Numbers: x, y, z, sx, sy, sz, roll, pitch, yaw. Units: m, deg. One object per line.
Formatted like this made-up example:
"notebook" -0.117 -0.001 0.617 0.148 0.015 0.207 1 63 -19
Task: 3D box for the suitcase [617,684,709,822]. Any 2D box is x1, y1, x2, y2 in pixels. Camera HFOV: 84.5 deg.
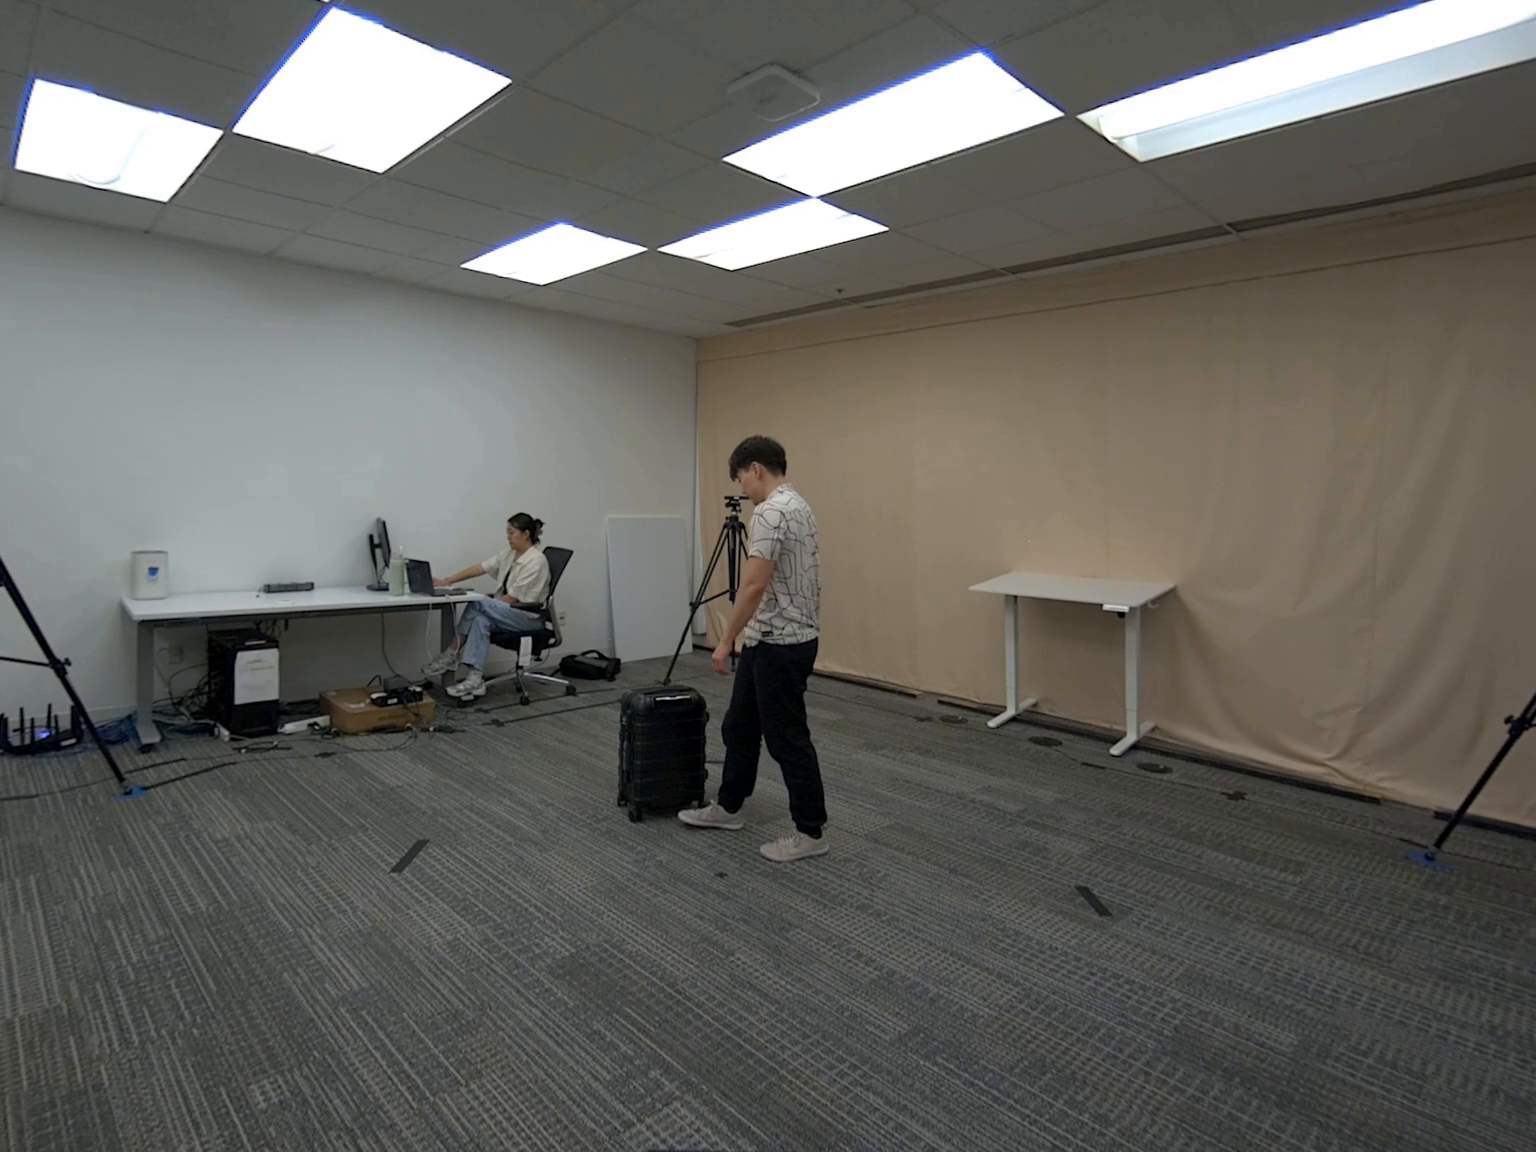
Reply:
"suitcase" -0.479 0.762 3.731 0.369 0.548 0.253 -1 4 -26
